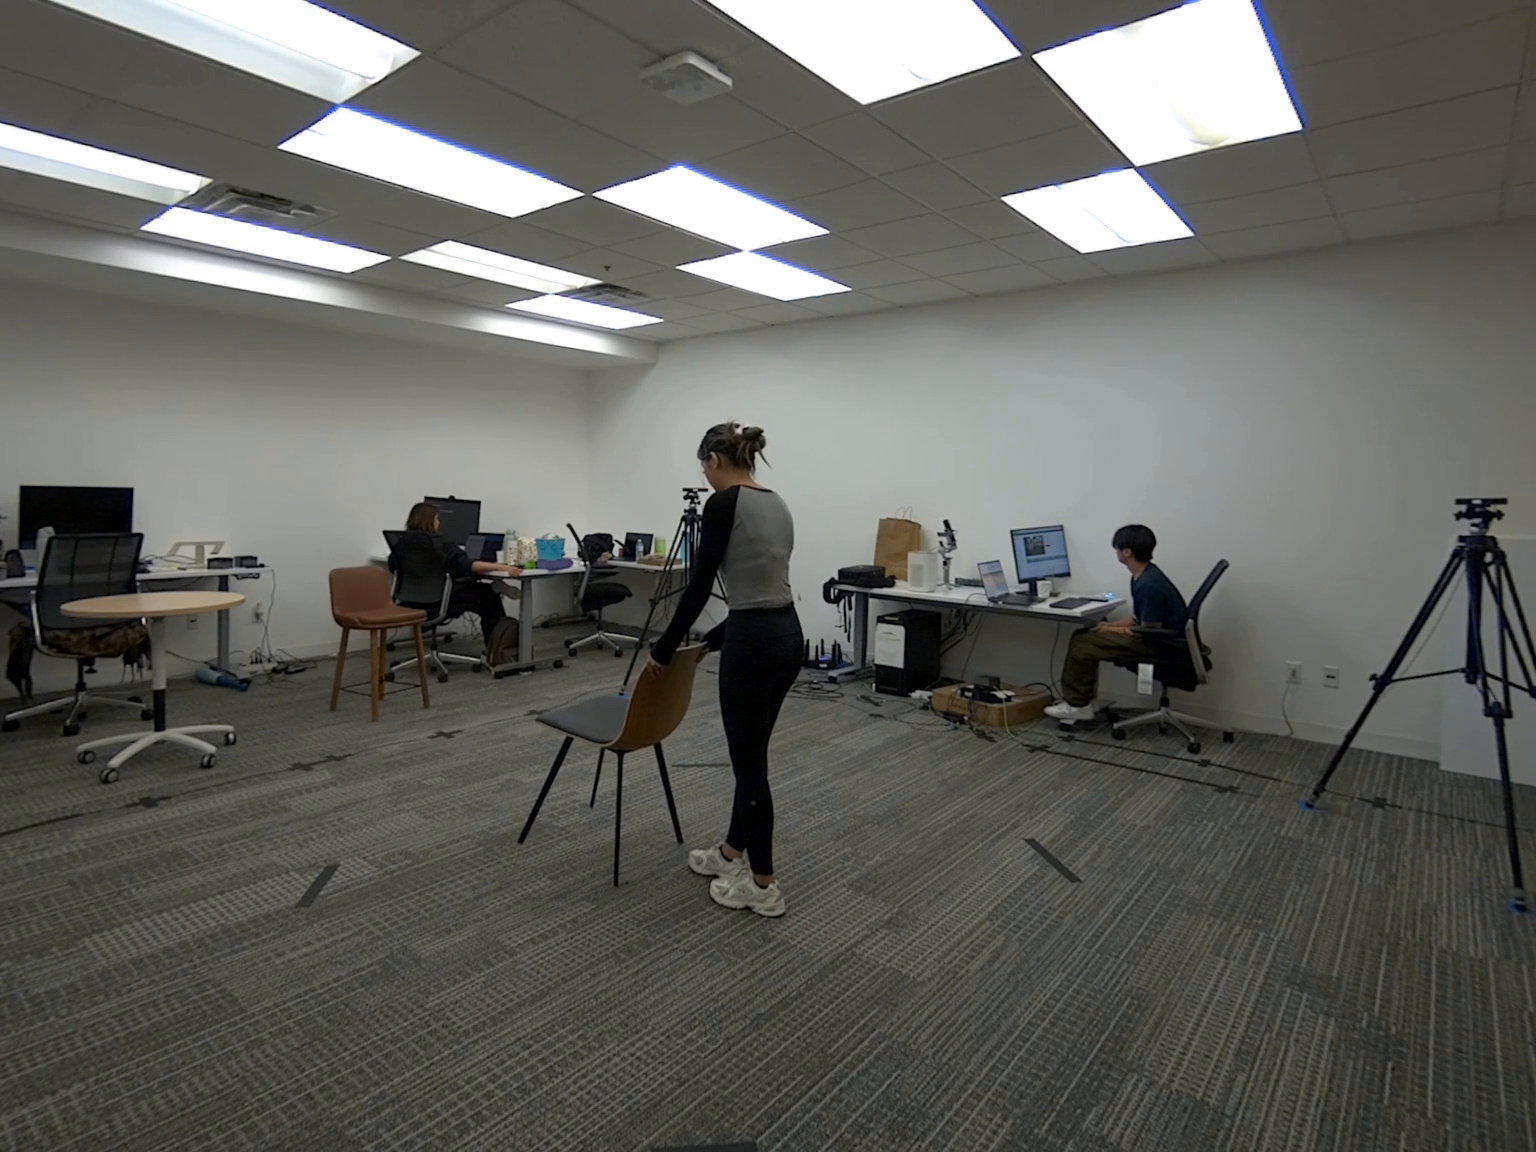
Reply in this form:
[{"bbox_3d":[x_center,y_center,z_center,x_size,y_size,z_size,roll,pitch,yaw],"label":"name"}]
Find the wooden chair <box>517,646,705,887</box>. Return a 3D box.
[{"bbox_3d":[-0.594,0.601,3.202,0.540,0.872,0.466,17,10,26],"label":"wooden chair"}]
